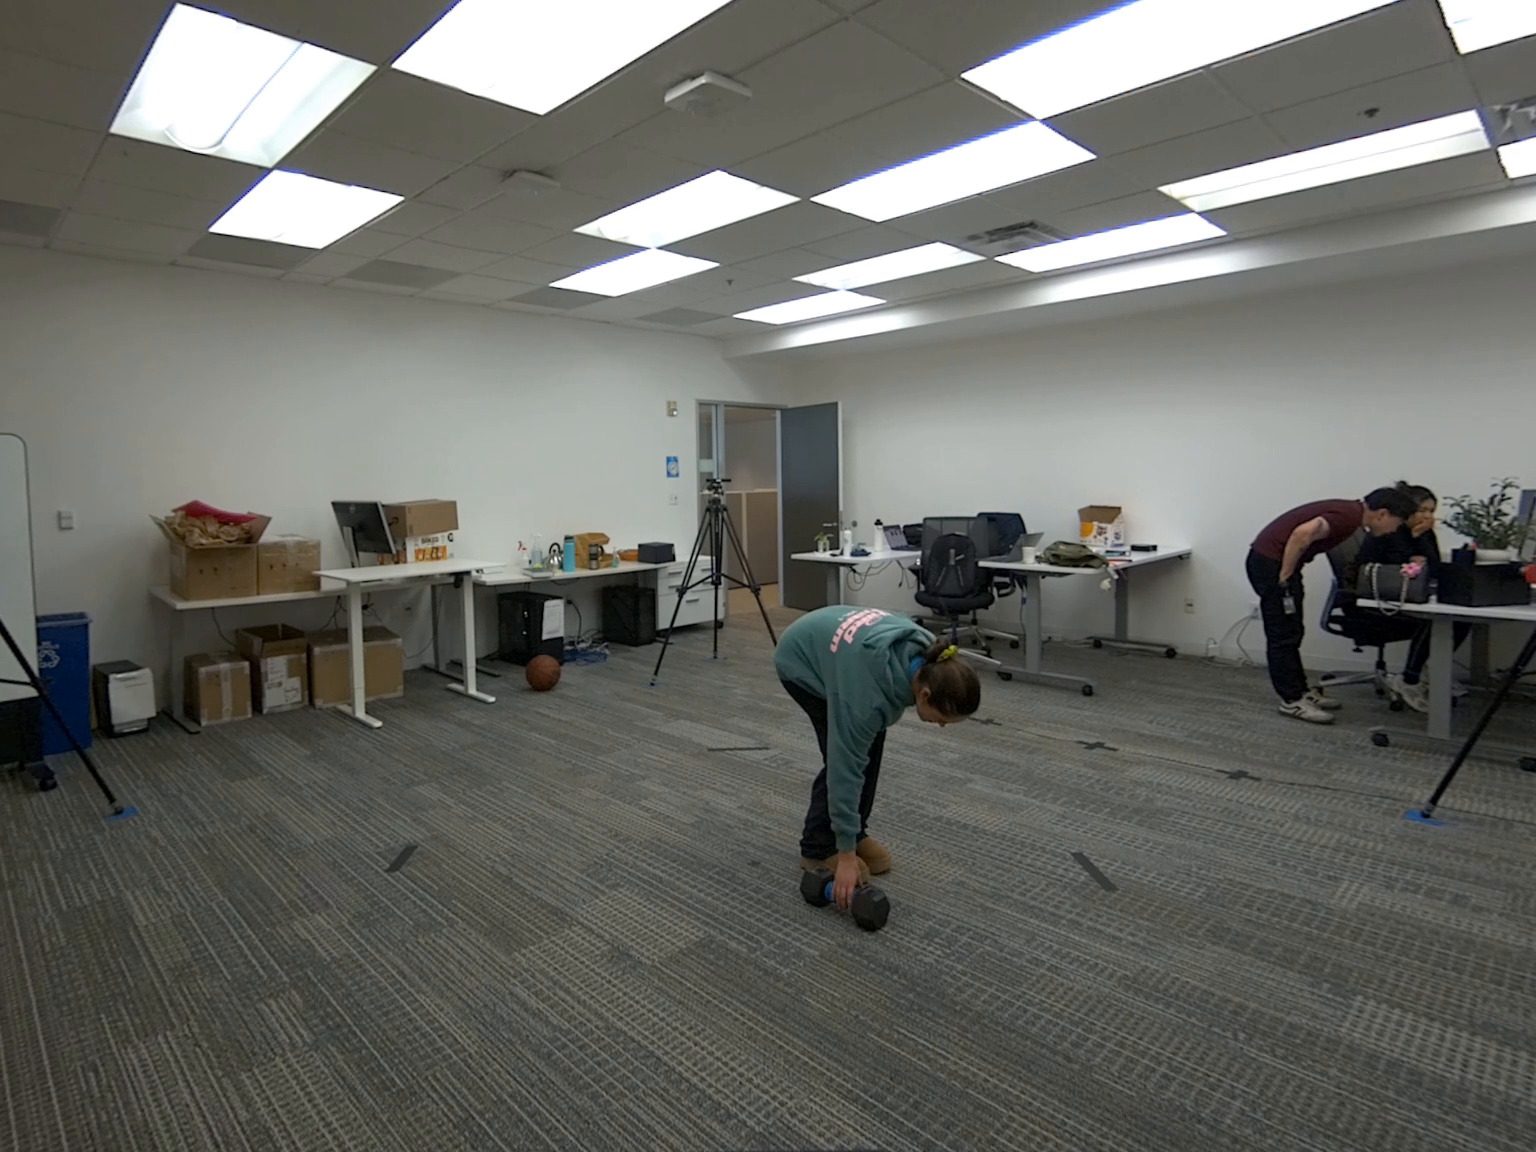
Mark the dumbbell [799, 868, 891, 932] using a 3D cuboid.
[{"bbox_3d":[0.245,1.033,2.736,0.302,0.119,0.108,5,39,46],"label":"dumbbell"}]
